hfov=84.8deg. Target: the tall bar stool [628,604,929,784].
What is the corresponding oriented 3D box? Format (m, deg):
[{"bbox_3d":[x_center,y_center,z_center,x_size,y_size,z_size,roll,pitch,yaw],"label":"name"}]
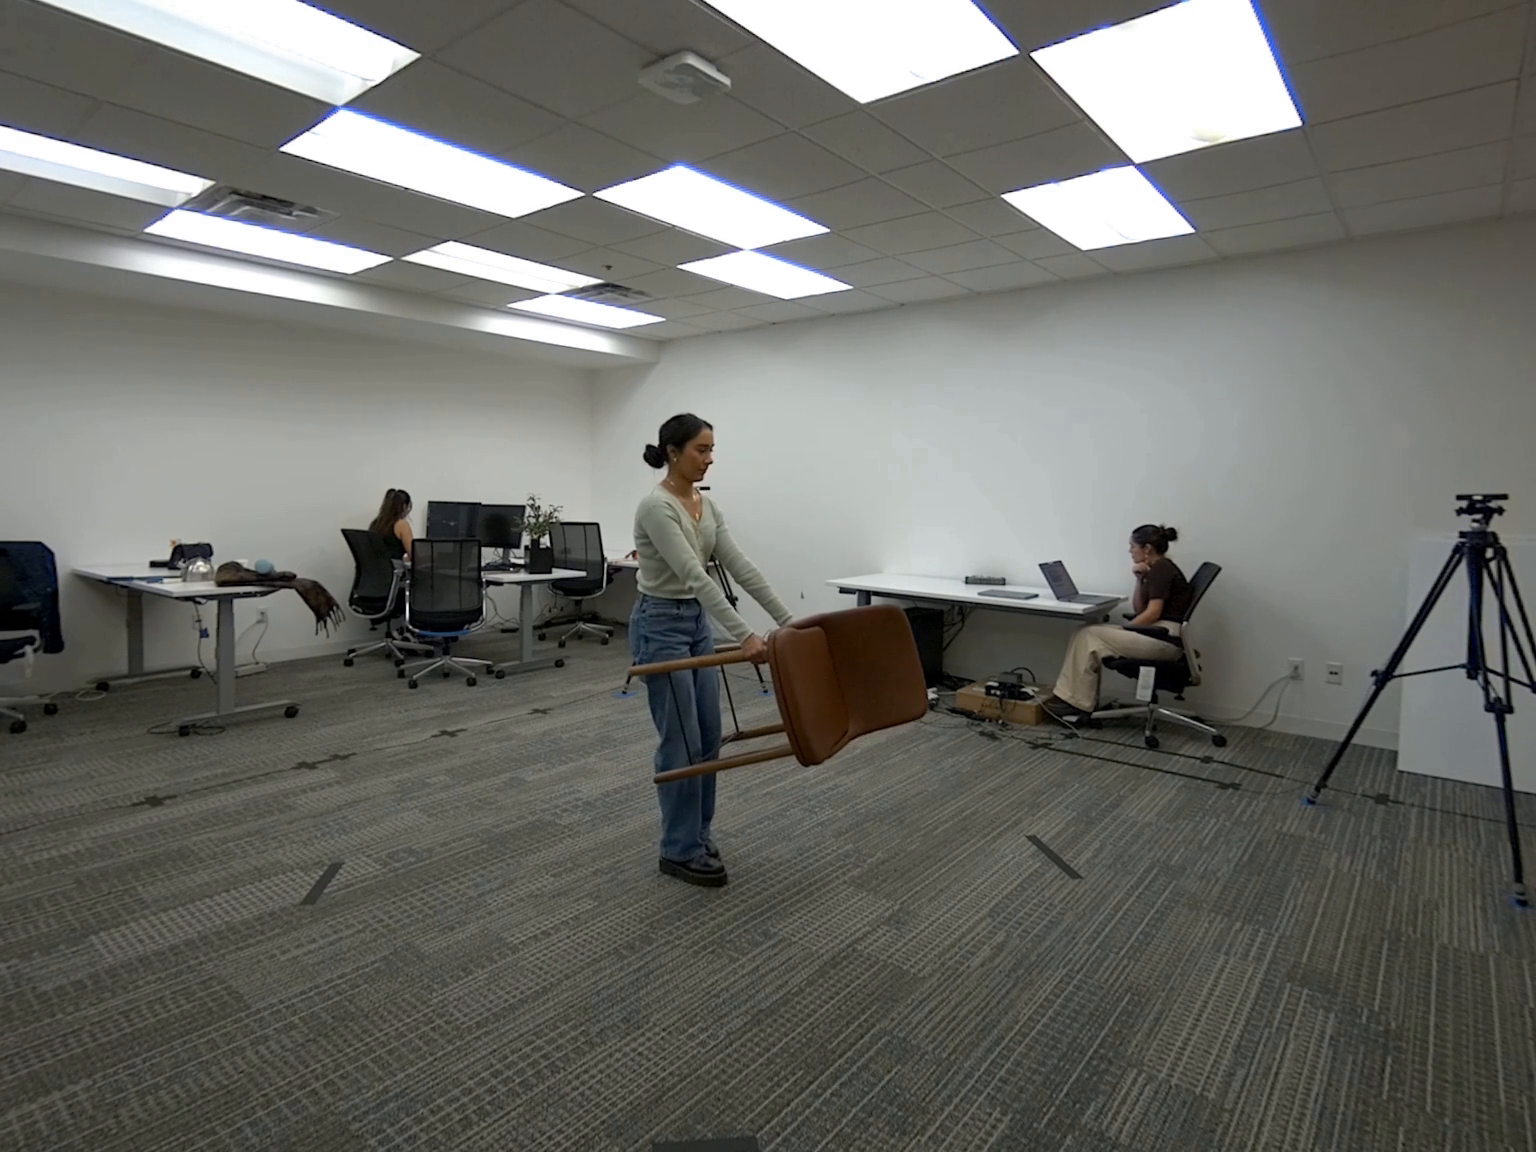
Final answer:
[{"bbox_3d":[0.037,0.396,2.932,0.907,0.458,0.458,-13,-1,26],"label":"tall bar stool"}]
